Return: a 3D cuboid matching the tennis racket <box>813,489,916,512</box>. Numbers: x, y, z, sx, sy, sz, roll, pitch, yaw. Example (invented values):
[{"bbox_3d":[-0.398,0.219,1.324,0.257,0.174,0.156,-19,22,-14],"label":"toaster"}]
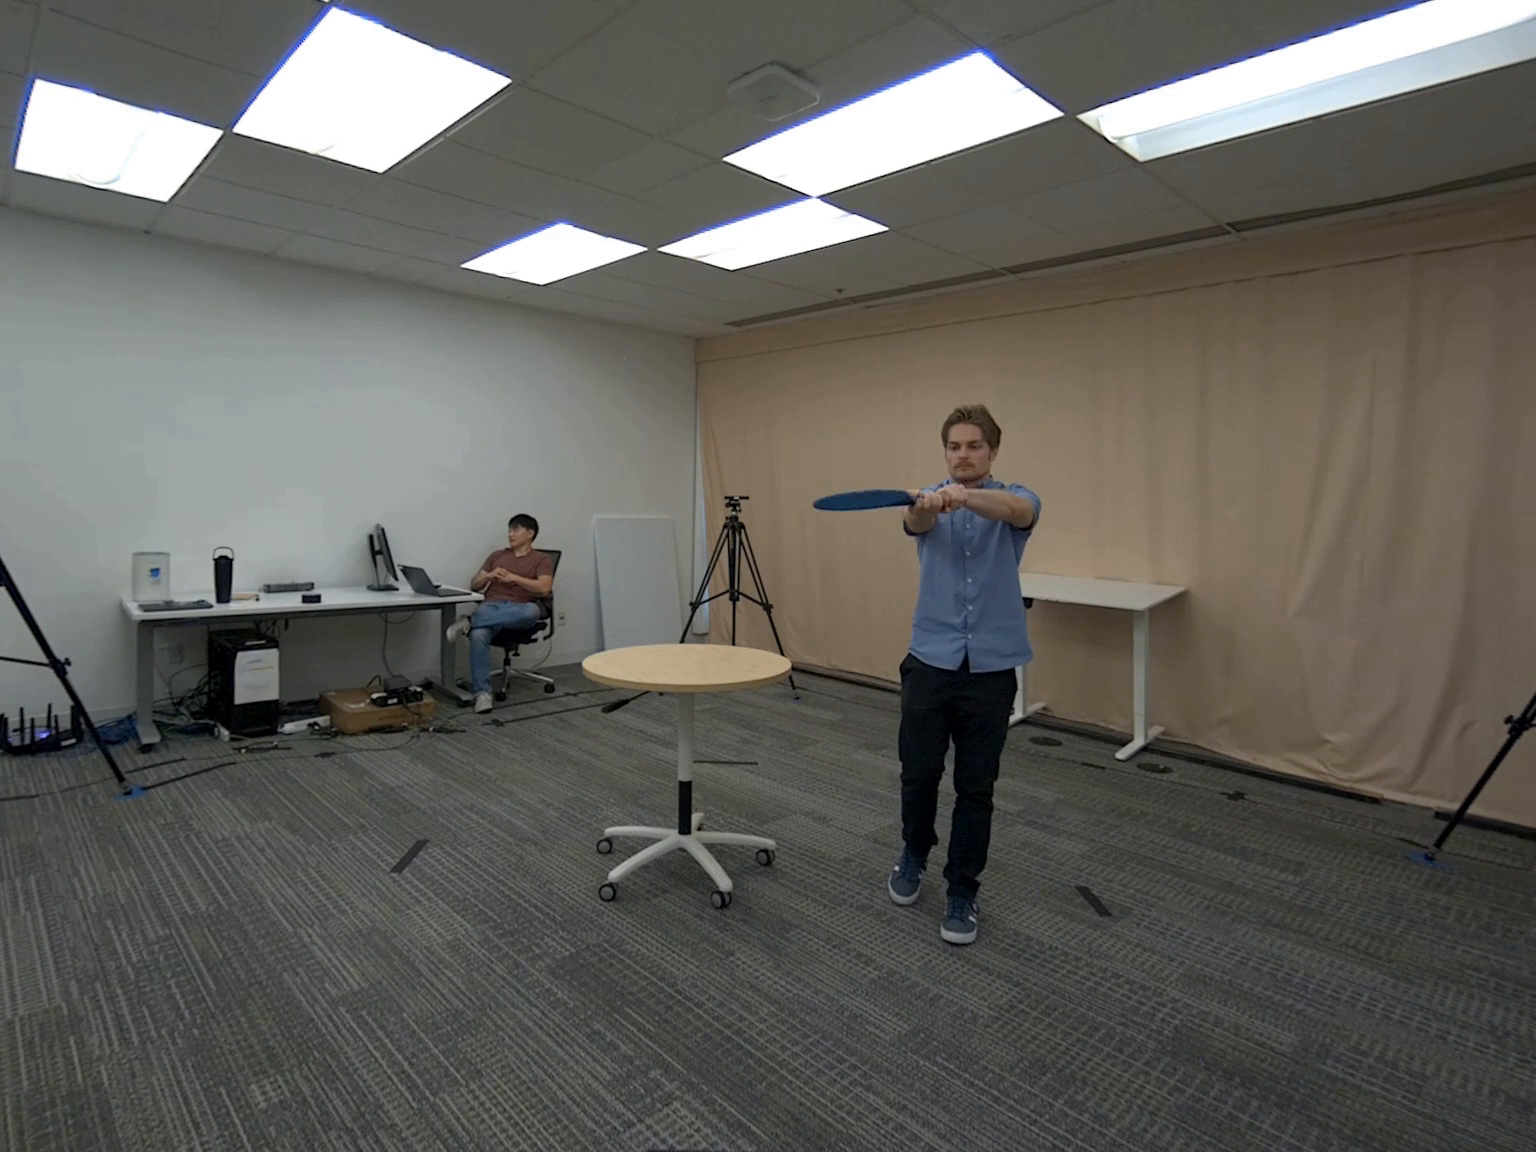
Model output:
[{"bbox_3d":[0.313,-0.203,2.208,0.426,0.032,0.216,-3,-6,-23],"label":"tennis racket"}]
